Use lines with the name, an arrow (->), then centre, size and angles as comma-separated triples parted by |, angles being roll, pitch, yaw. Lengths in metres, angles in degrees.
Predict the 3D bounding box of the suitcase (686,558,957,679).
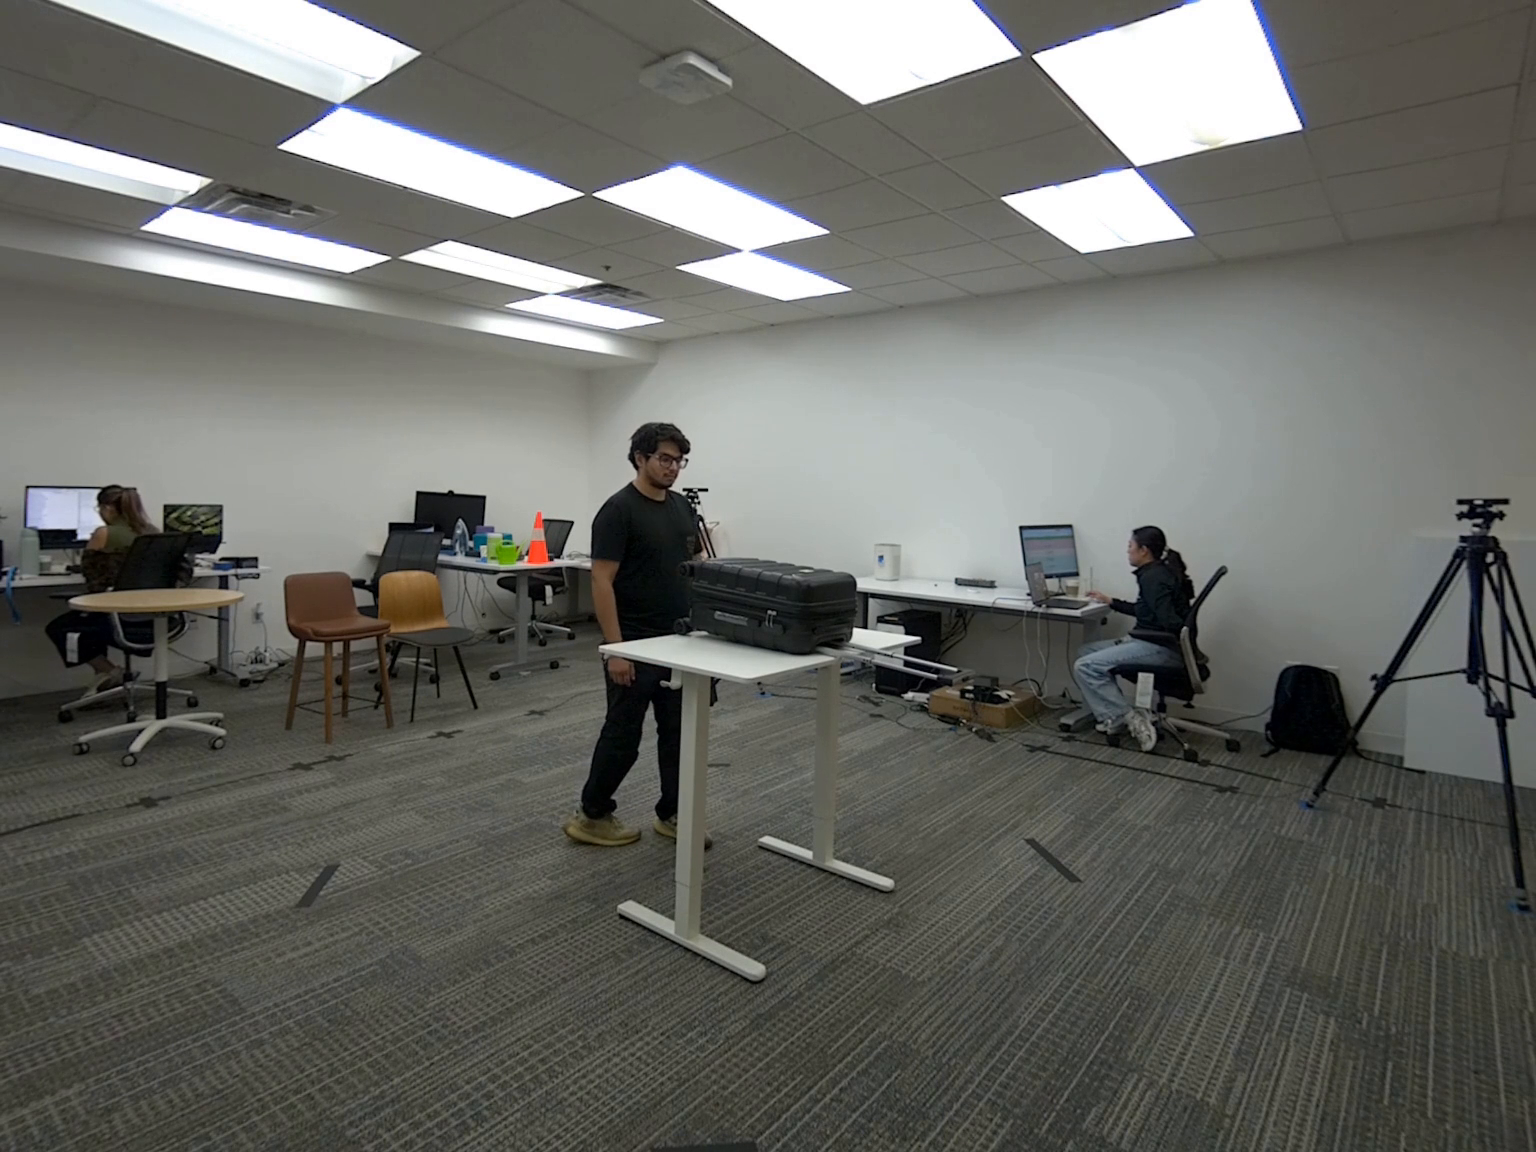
suitcase -> 0.157, 0.115, 2.726 | 1.013, 0.256, 0.372 | 8, 6, 39
